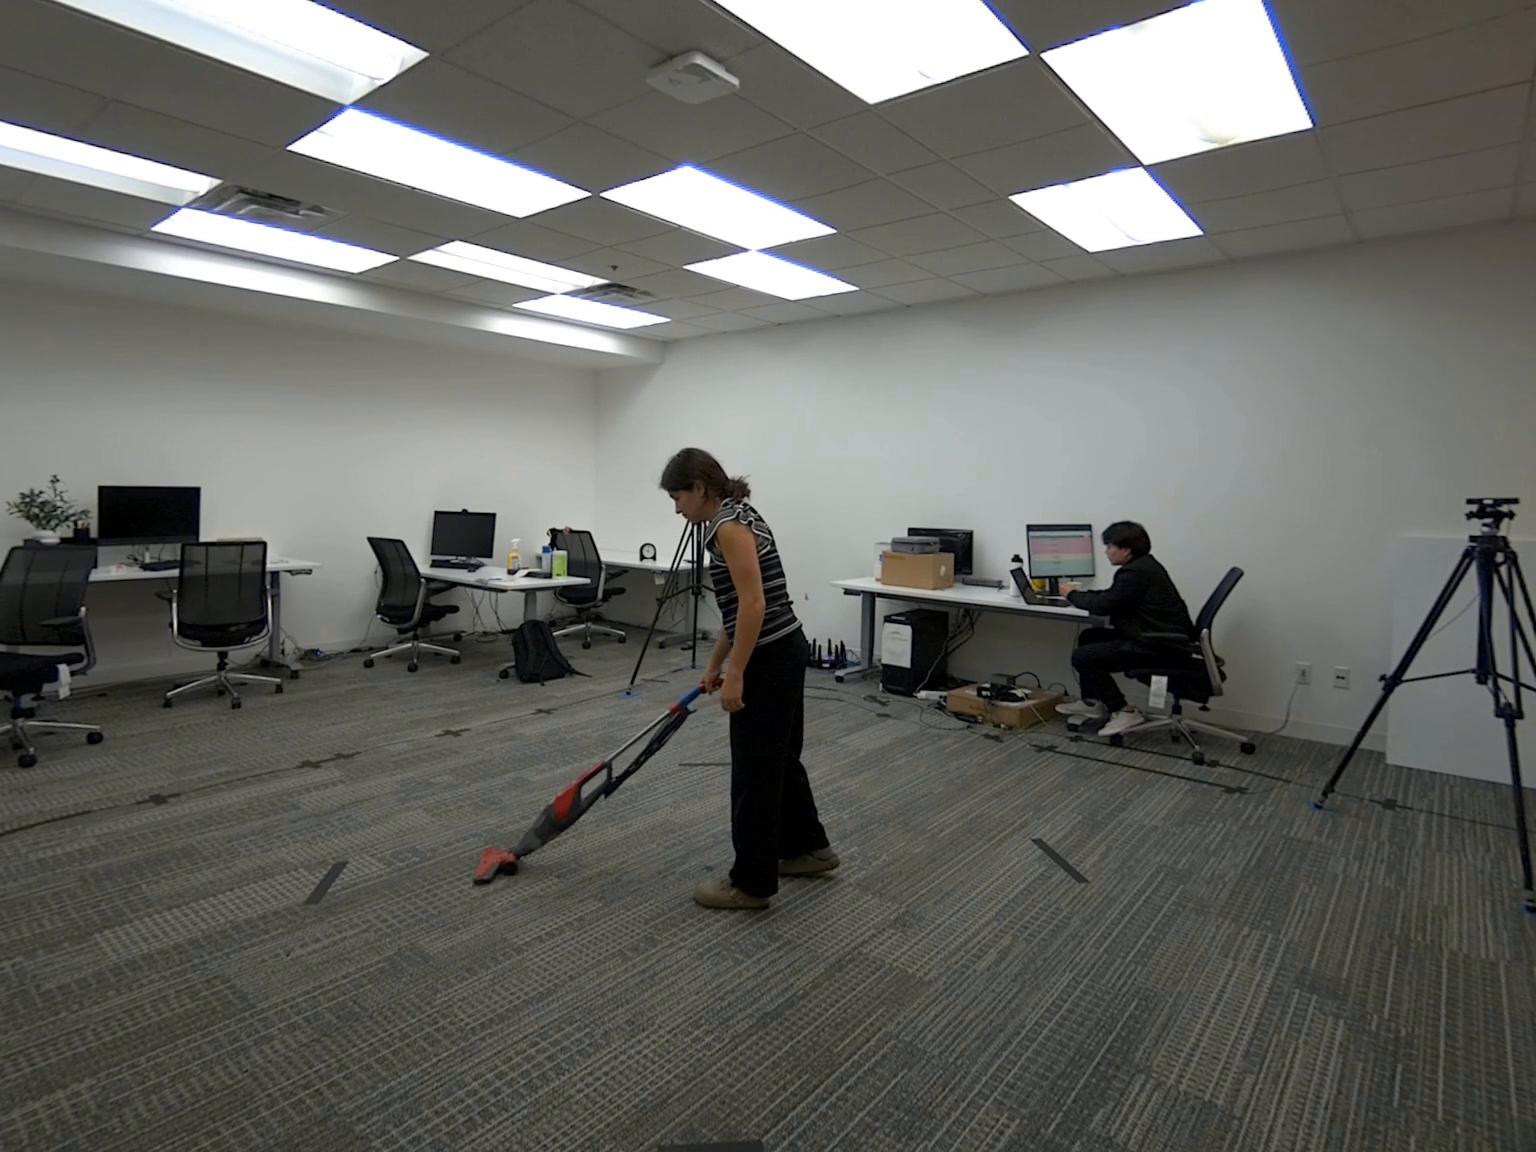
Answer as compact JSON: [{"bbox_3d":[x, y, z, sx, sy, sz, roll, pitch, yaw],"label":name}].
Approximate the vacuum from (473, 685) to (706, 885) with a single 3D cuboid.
[{"bbox_3d":[-0.581,0.716,3.109,1.048,0.142,0.256,-38,11,-3],"label":"vacuum"}]
